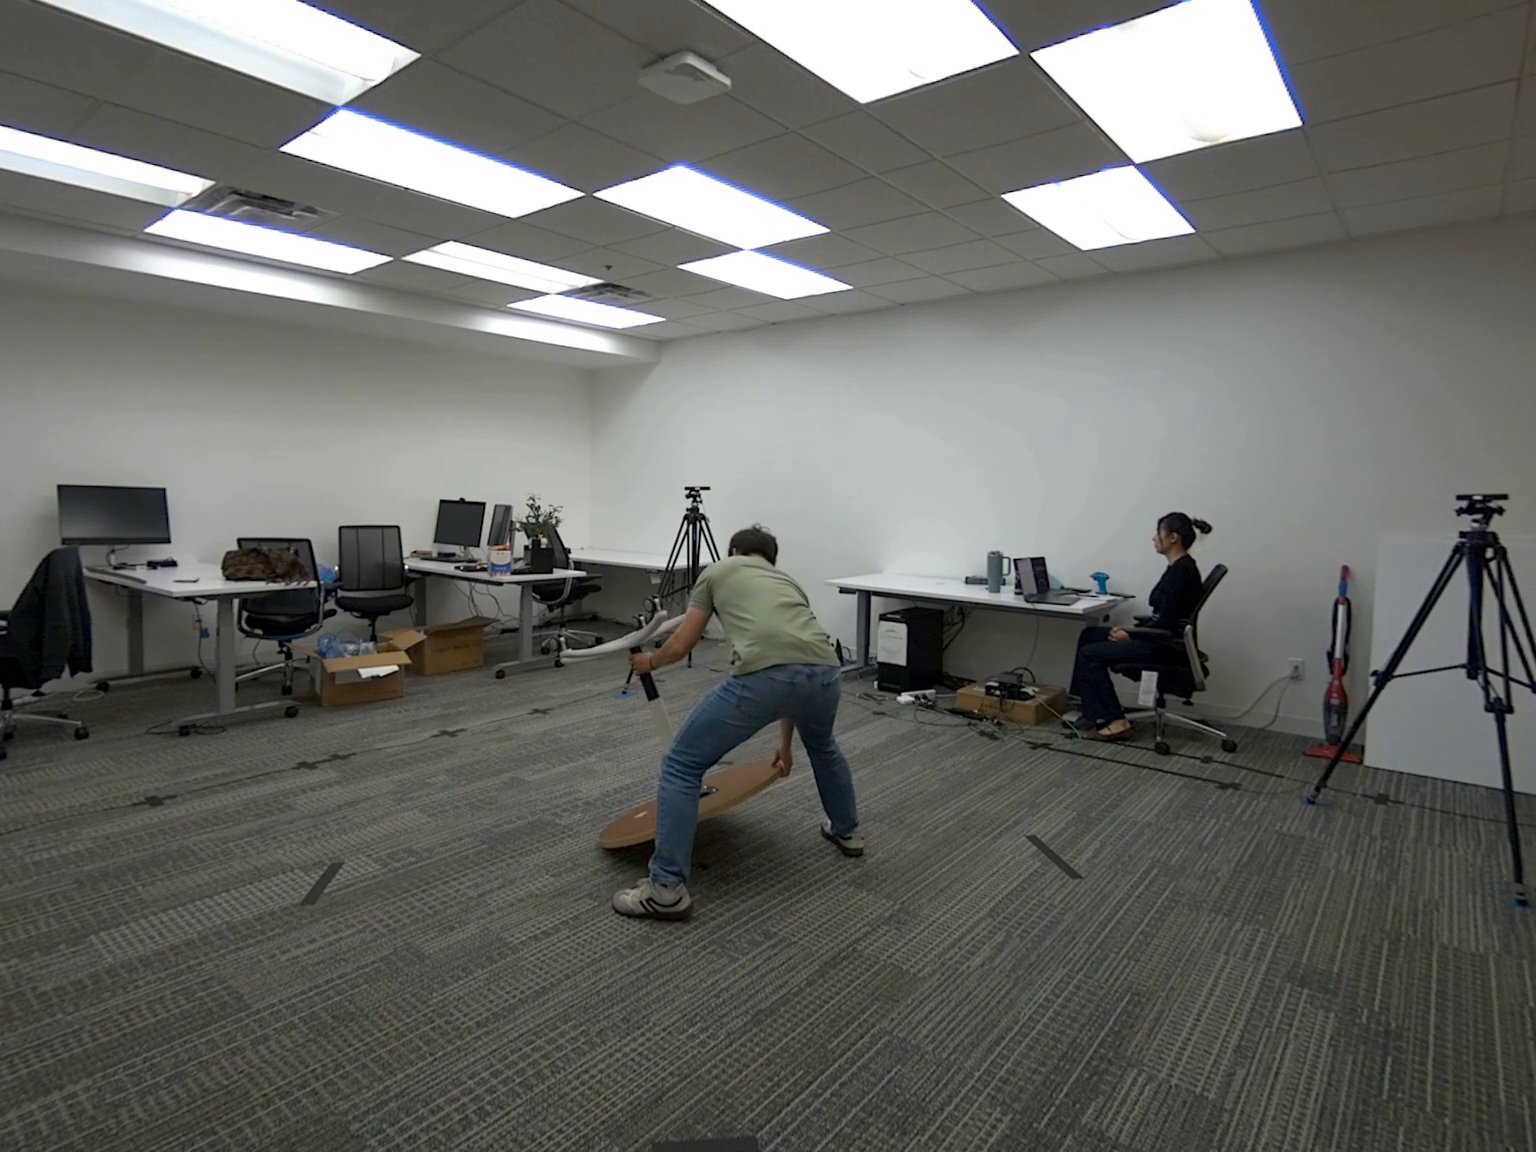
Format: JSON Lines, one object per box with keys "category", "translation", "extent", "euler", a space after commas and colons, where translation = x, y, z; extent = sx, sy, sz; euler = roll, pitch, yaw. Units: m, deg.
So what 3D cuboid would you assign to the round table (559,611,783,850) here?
{"category": "round table", "translation": [-0.451, 0.524, 3.375], "extent": [0.762, 0.799, 0.761], "euler": [-22, -4, -3]}
